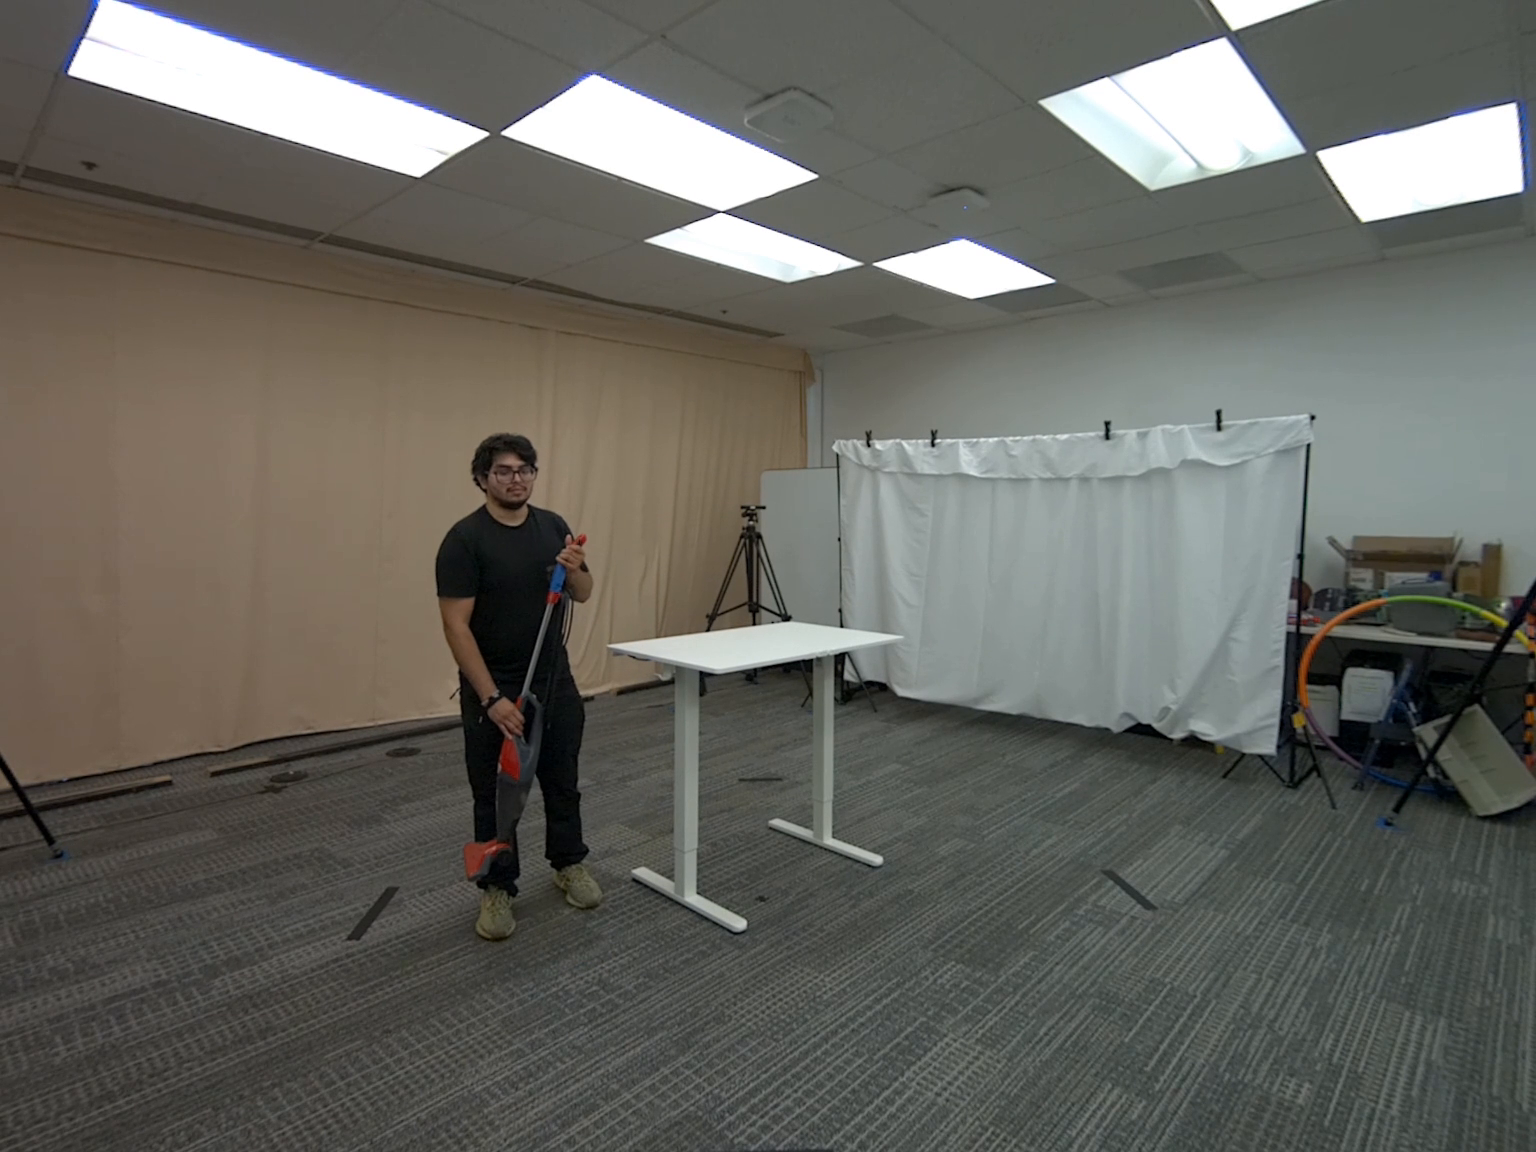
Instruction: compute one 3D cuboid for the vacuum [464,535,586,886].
[{"bbox_3d":[-0.719,0.386,2.651,0.140,1.050,0.259,17,-3,-23],"label":"vacuum"}]
